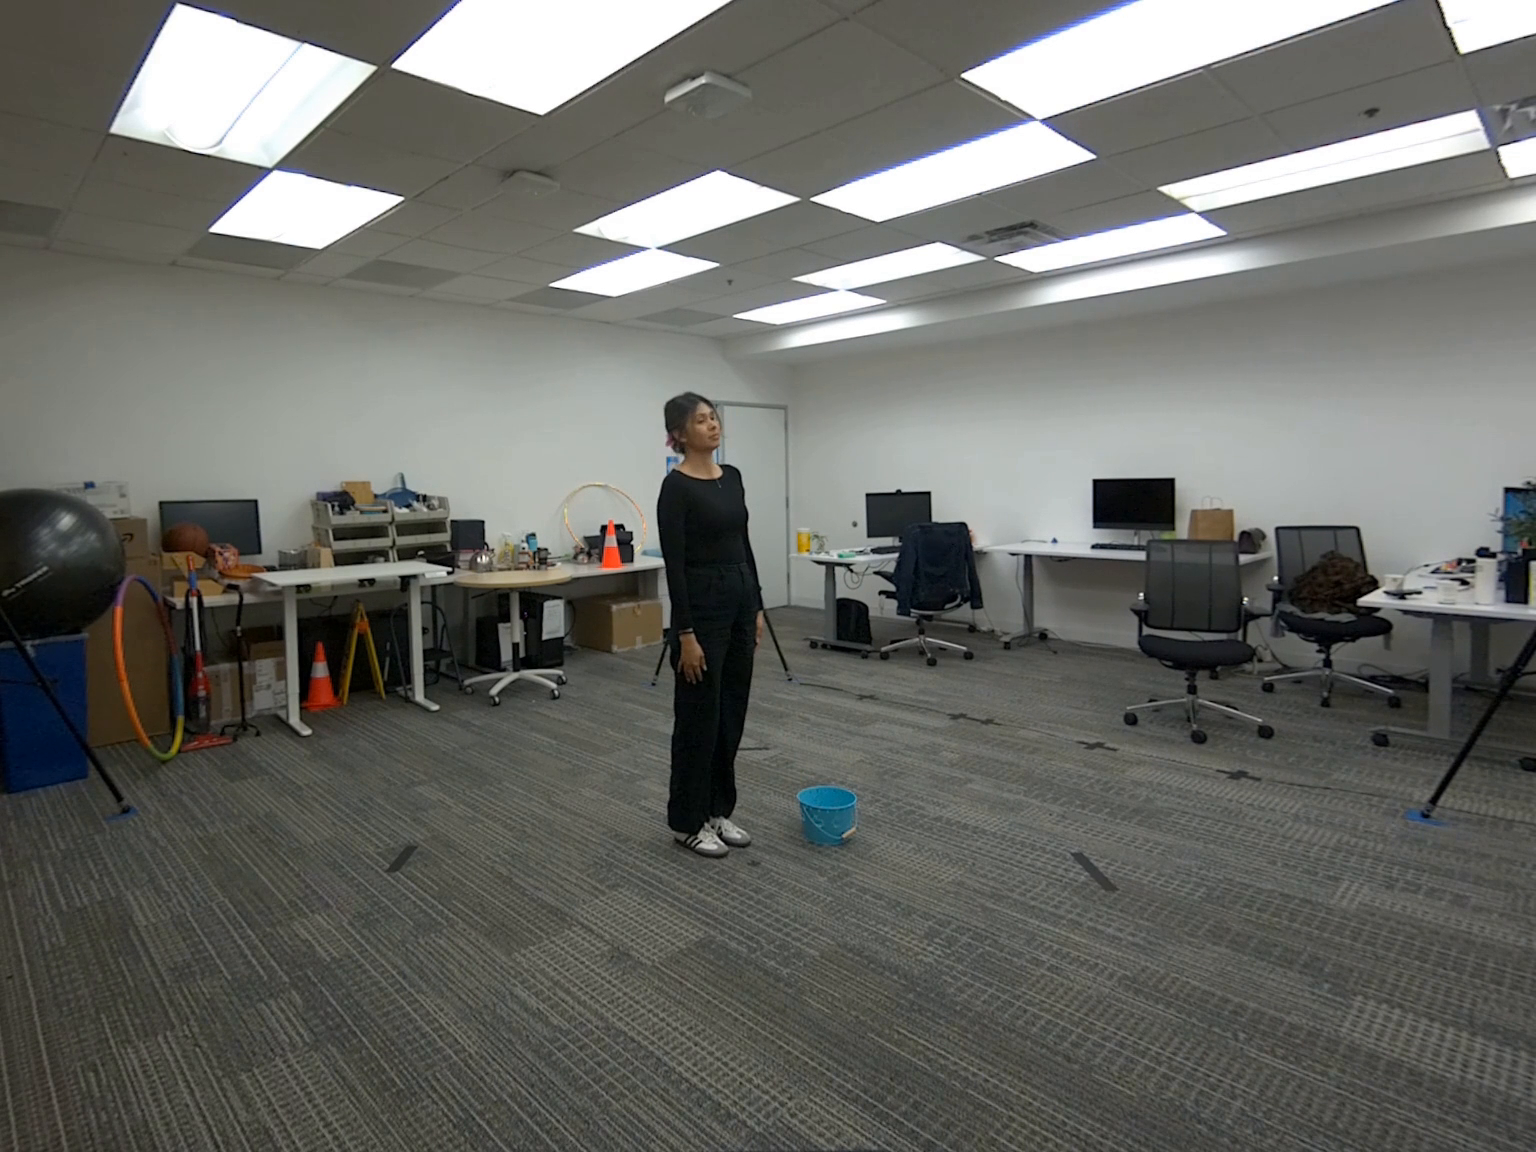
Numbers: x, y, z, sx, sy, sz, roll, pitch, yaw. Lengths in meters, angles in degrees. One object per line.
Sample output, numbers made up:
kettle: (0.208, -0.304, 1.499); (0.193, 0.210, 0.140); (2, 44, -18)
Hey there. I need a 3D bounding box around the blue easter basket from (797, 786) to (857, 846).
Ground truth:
blue easter basket: (0.226, 0.928, 3.332); (0.243, 0.155, 0.245); (-2, 5, -2)
